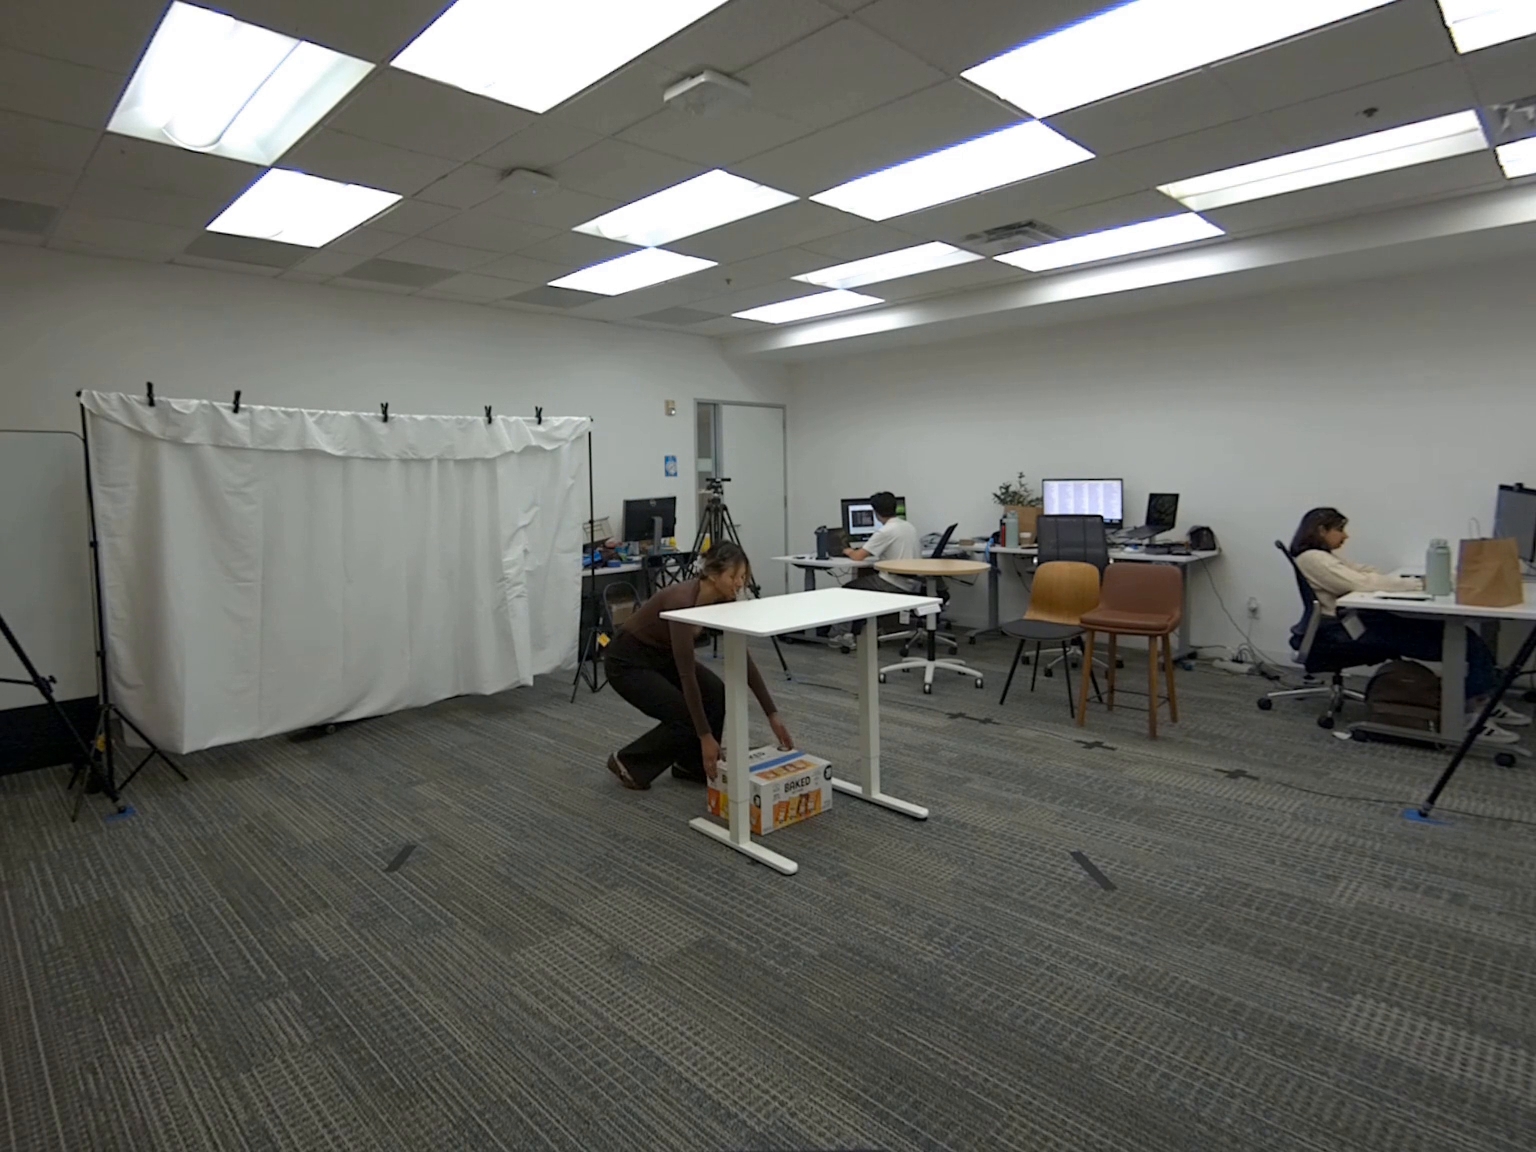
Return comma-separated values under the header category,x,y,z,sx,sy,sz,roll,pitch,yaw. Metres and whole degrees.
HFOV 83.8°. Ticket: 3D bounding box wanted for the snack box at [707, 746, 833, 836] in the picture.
category,x,y,z,sx,sy,sz,roll,pitch,yaw
snack box,0.006,0.885,3.587,0.394,0.205,0.351,-6,8,-42
